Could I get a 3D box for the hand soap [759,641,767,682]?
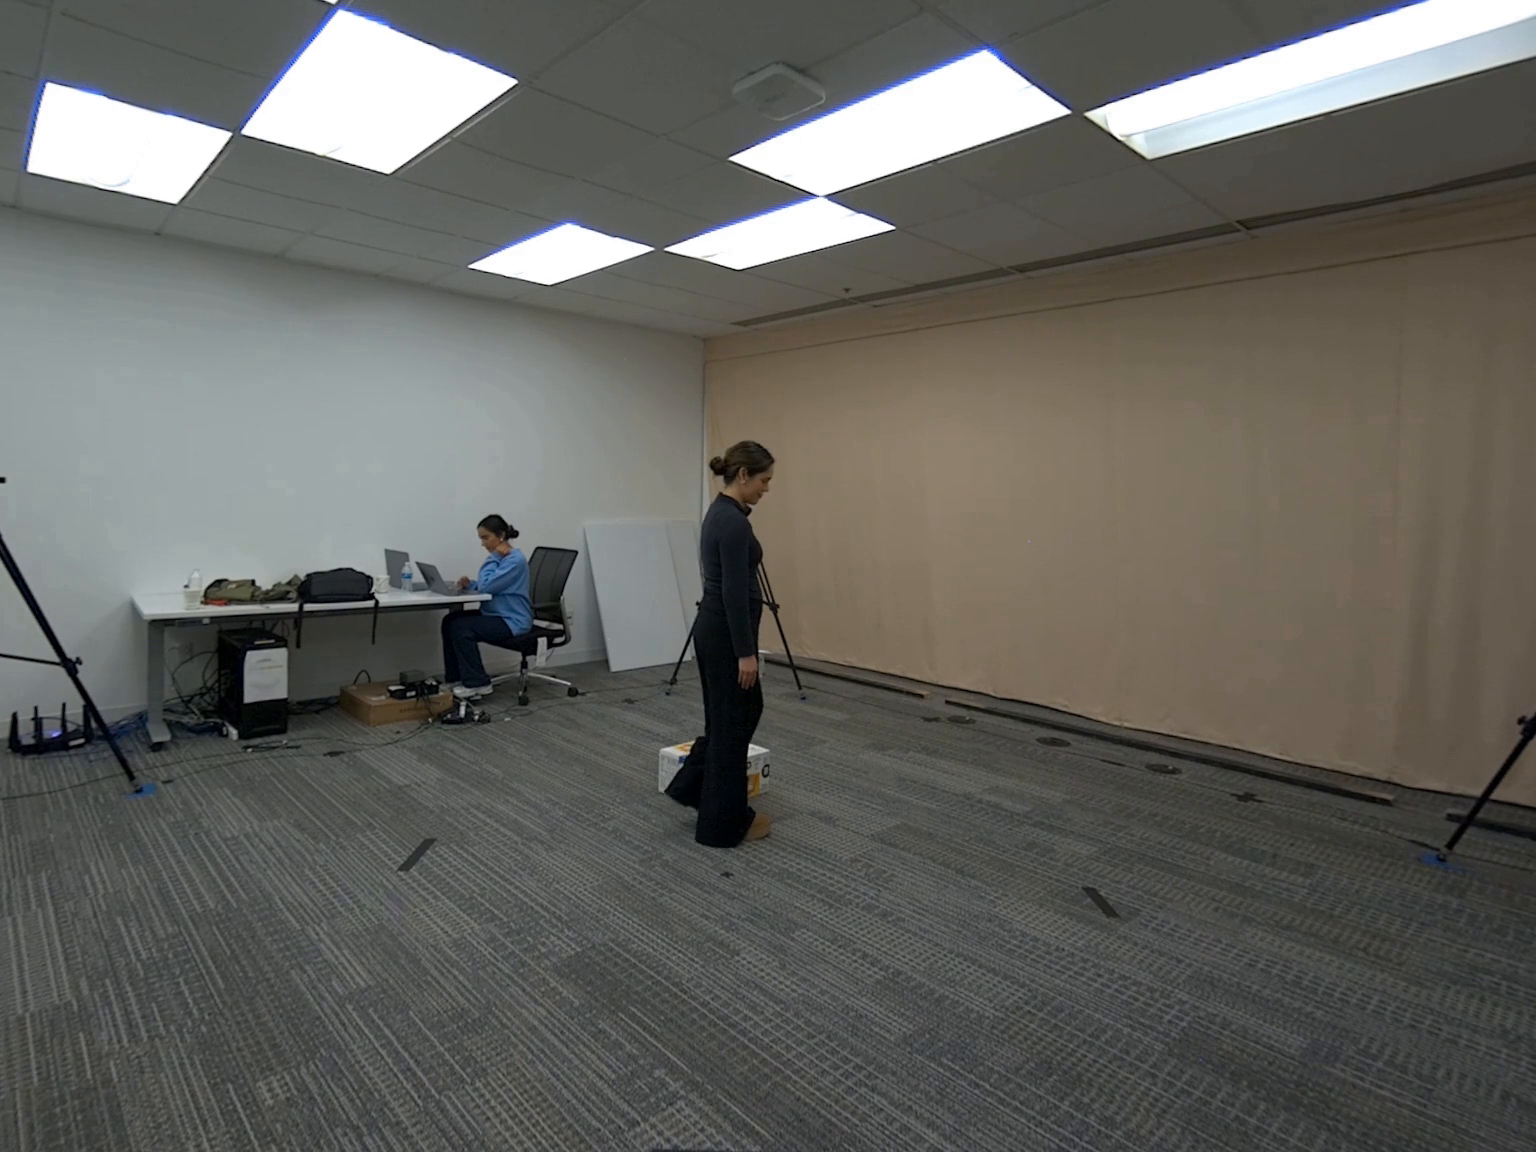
[{"bbox_3d":[-0.058,0.376,3.737,0.083,0.167,0.044,2,6,-14],"label":"hand soap"}]
